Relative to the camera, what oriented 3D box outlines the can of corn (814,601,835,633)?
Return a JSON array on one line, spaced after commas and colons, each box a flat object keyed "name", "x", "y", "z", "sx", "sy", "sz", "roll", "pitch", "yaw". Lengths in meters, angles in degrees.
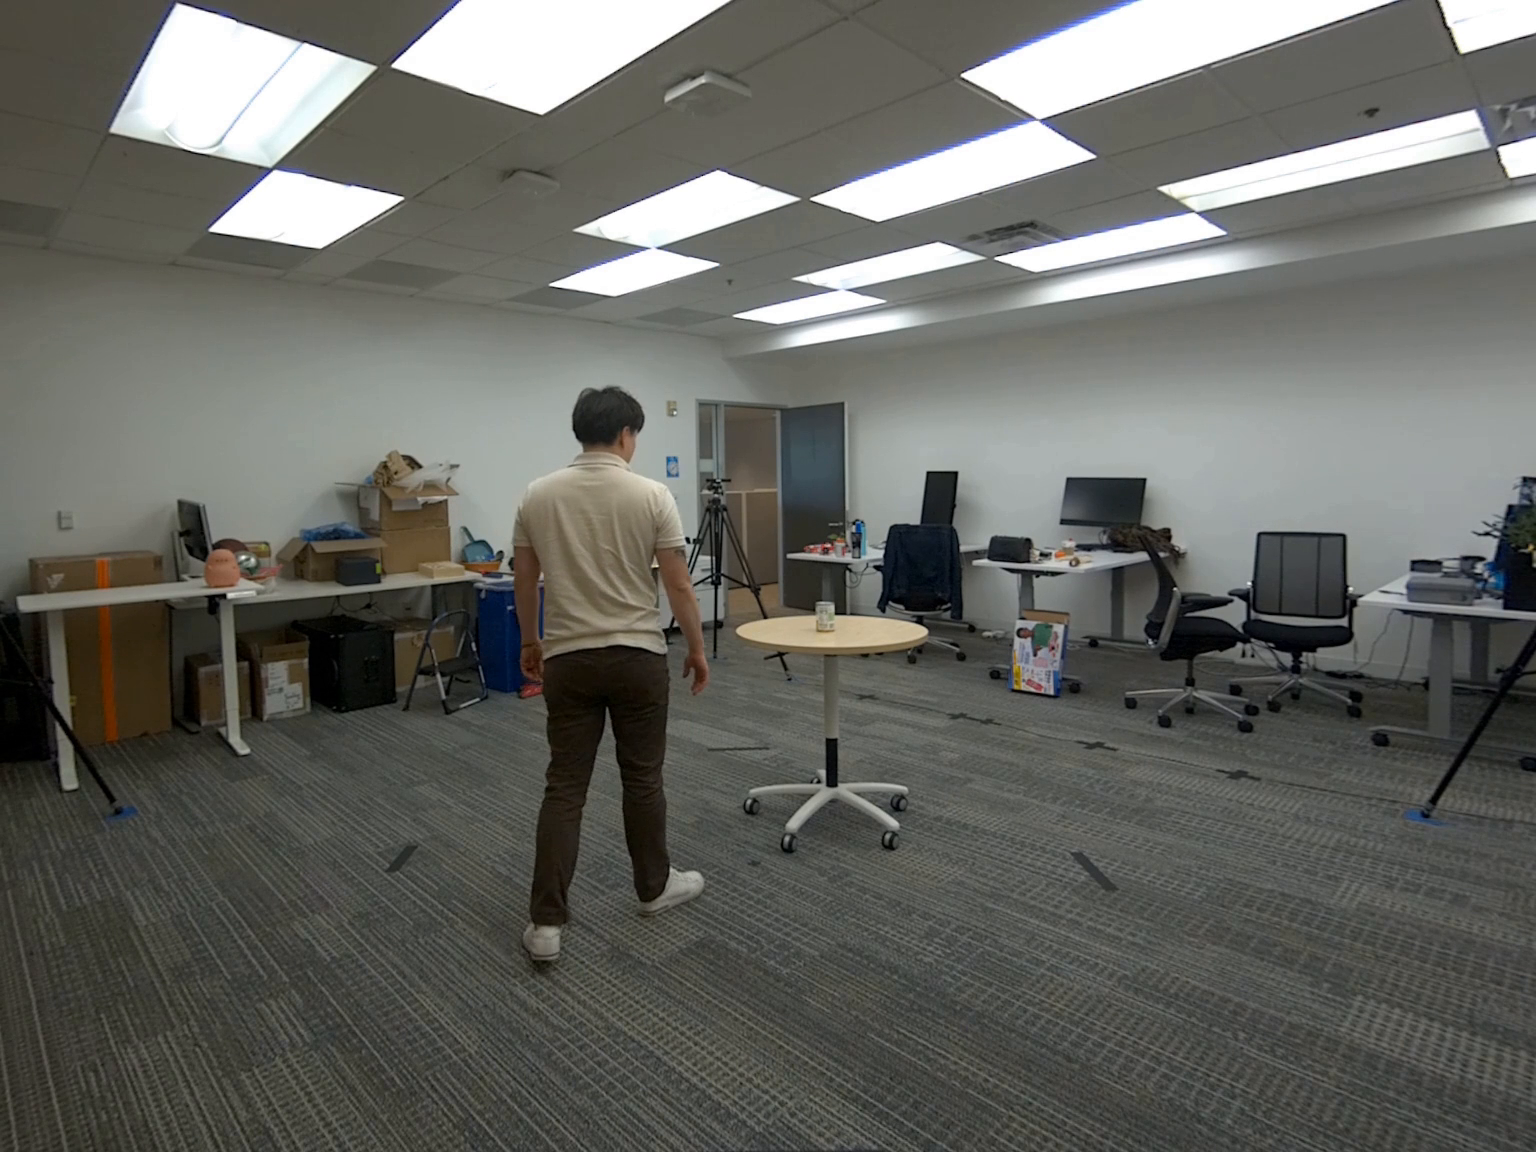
[{"name": "can of corn", "x": 0.237, "y": 0.162, "z": 3.420, "sx": 0.074, "sy": 0.111, "sz": 0.074, "roll": 0, "pitch": 3, "yaw": -2}]
